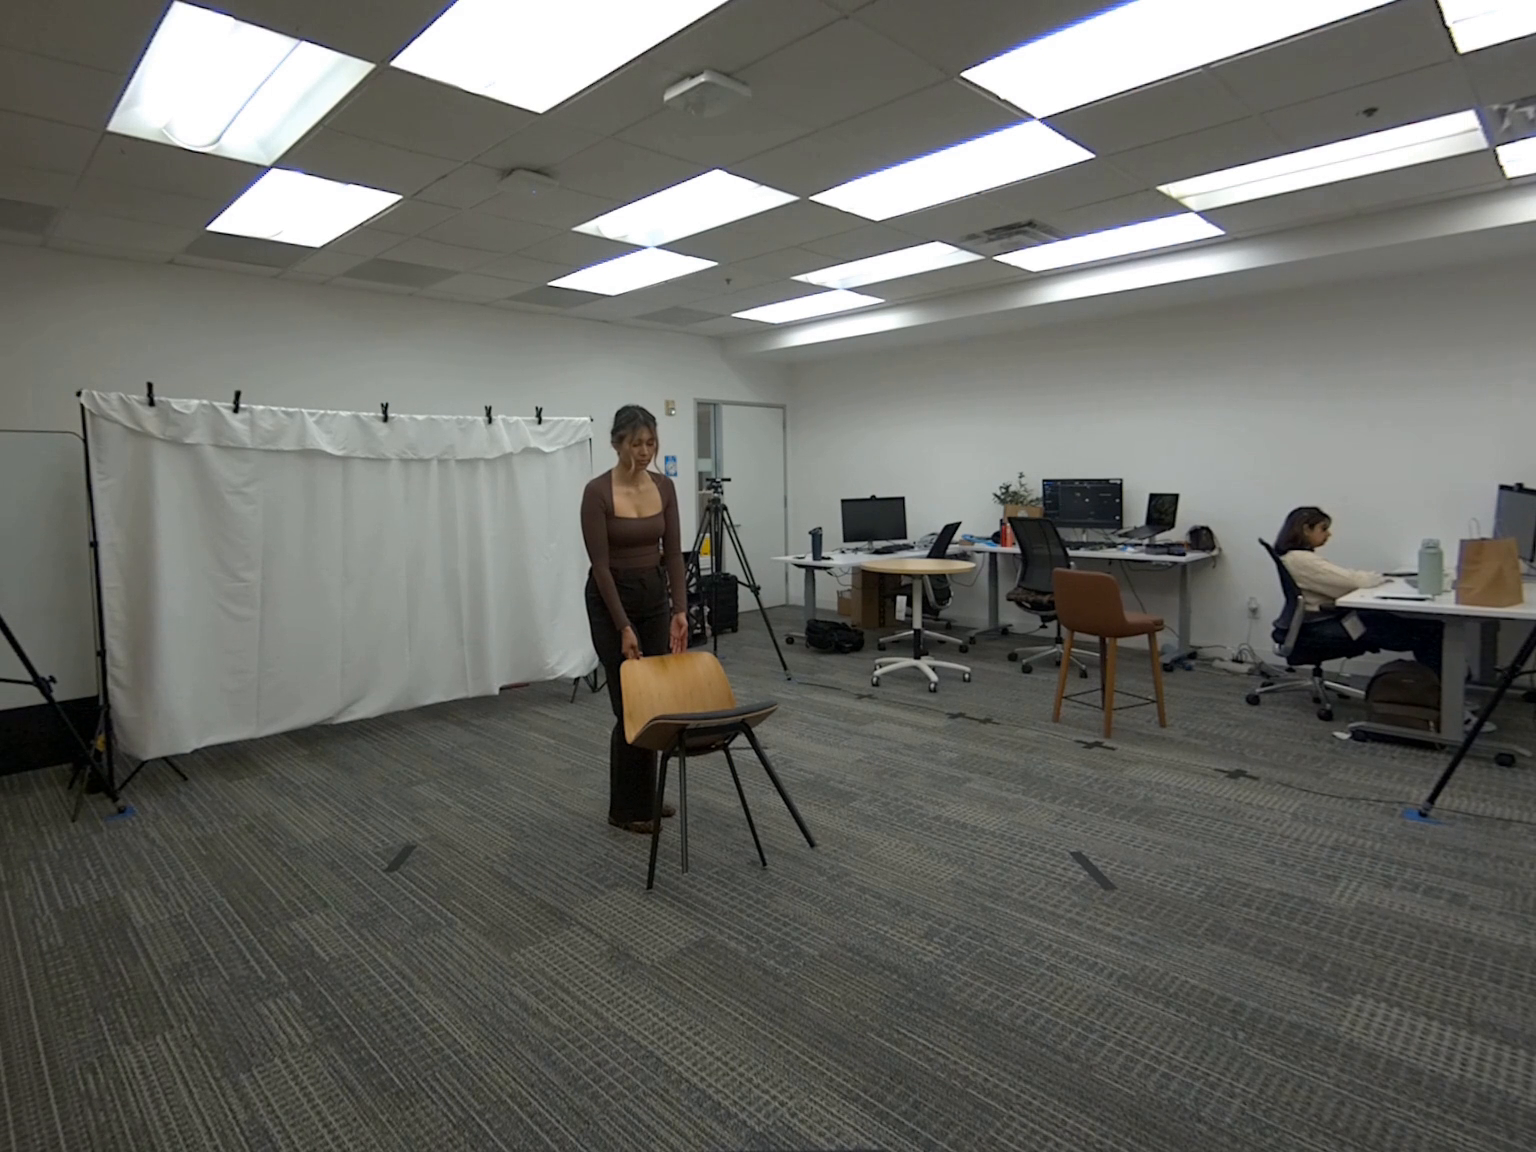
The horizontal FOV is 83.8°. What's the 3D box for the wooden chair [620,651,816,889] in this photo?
[{"bbox_3d":[-0.220,0.573,2.969,0.469,0.902,0.519,-3,-30,-23],"label":"wooden chair"}]
